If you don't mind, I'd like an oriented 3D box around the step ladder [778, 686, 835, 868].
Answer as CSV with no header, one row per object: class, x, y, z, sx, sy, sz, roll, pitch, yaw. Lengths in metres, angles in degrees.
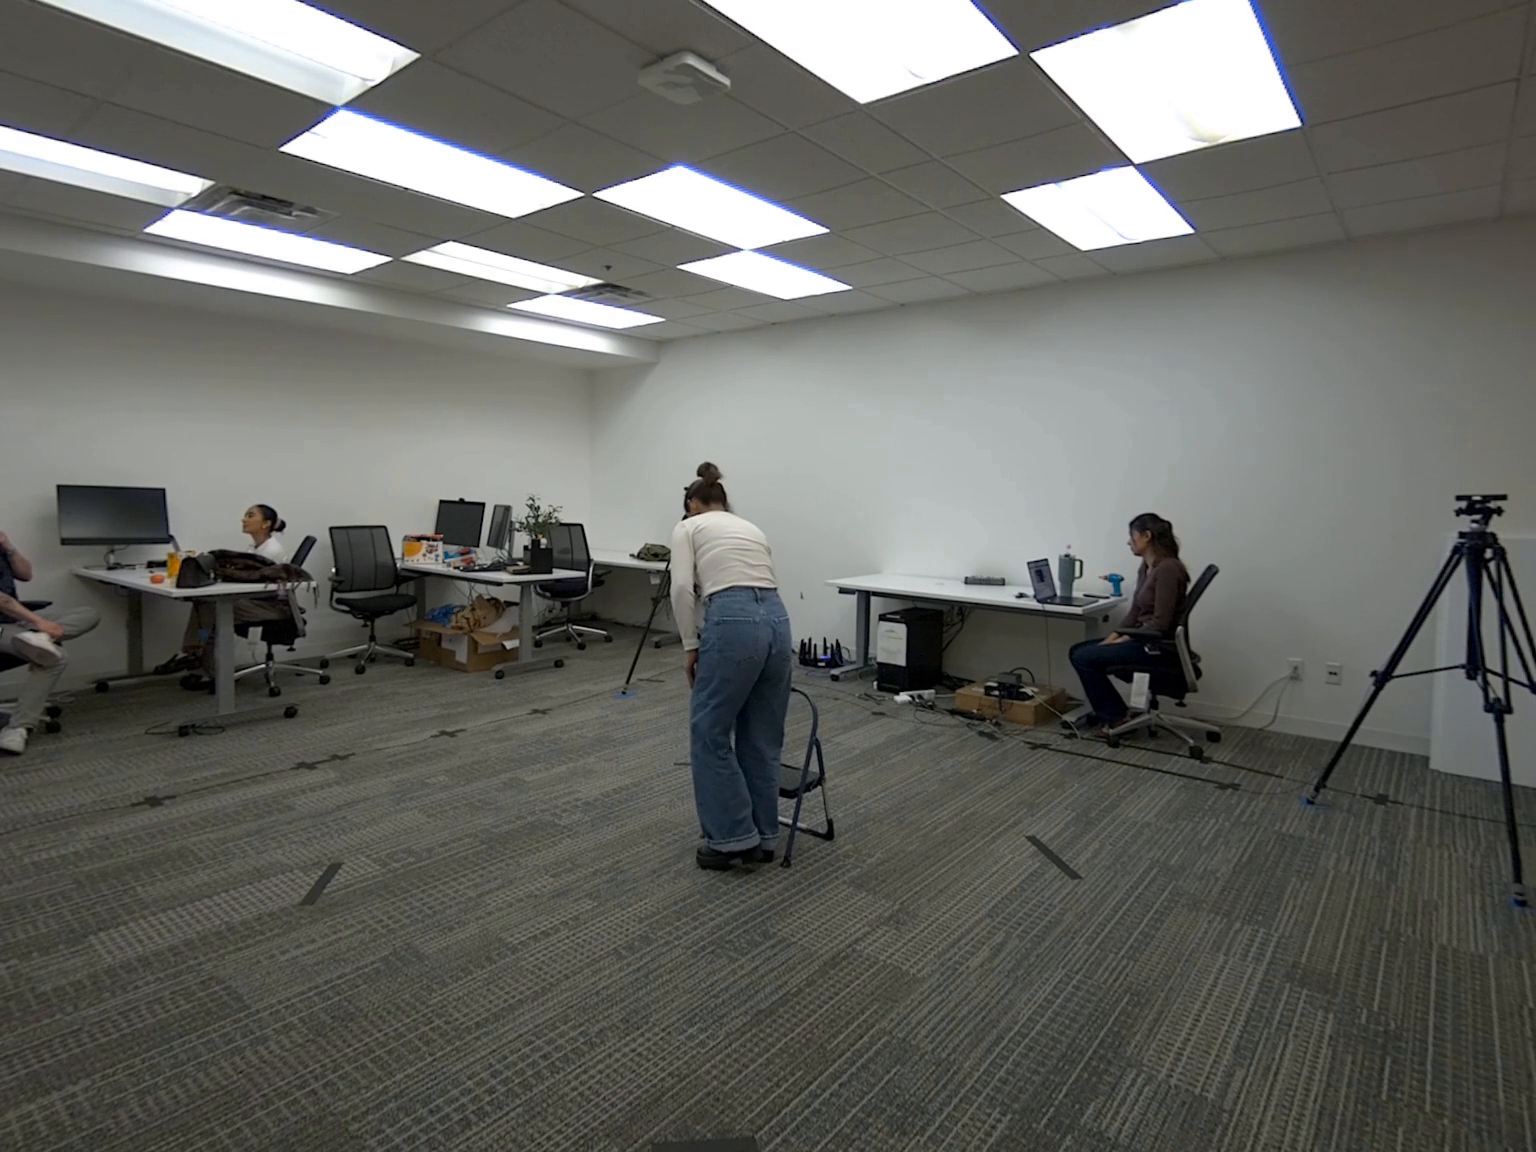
step ladder,0.004,0.738,3.375,0.445,0.604,0.339,4,5,38
